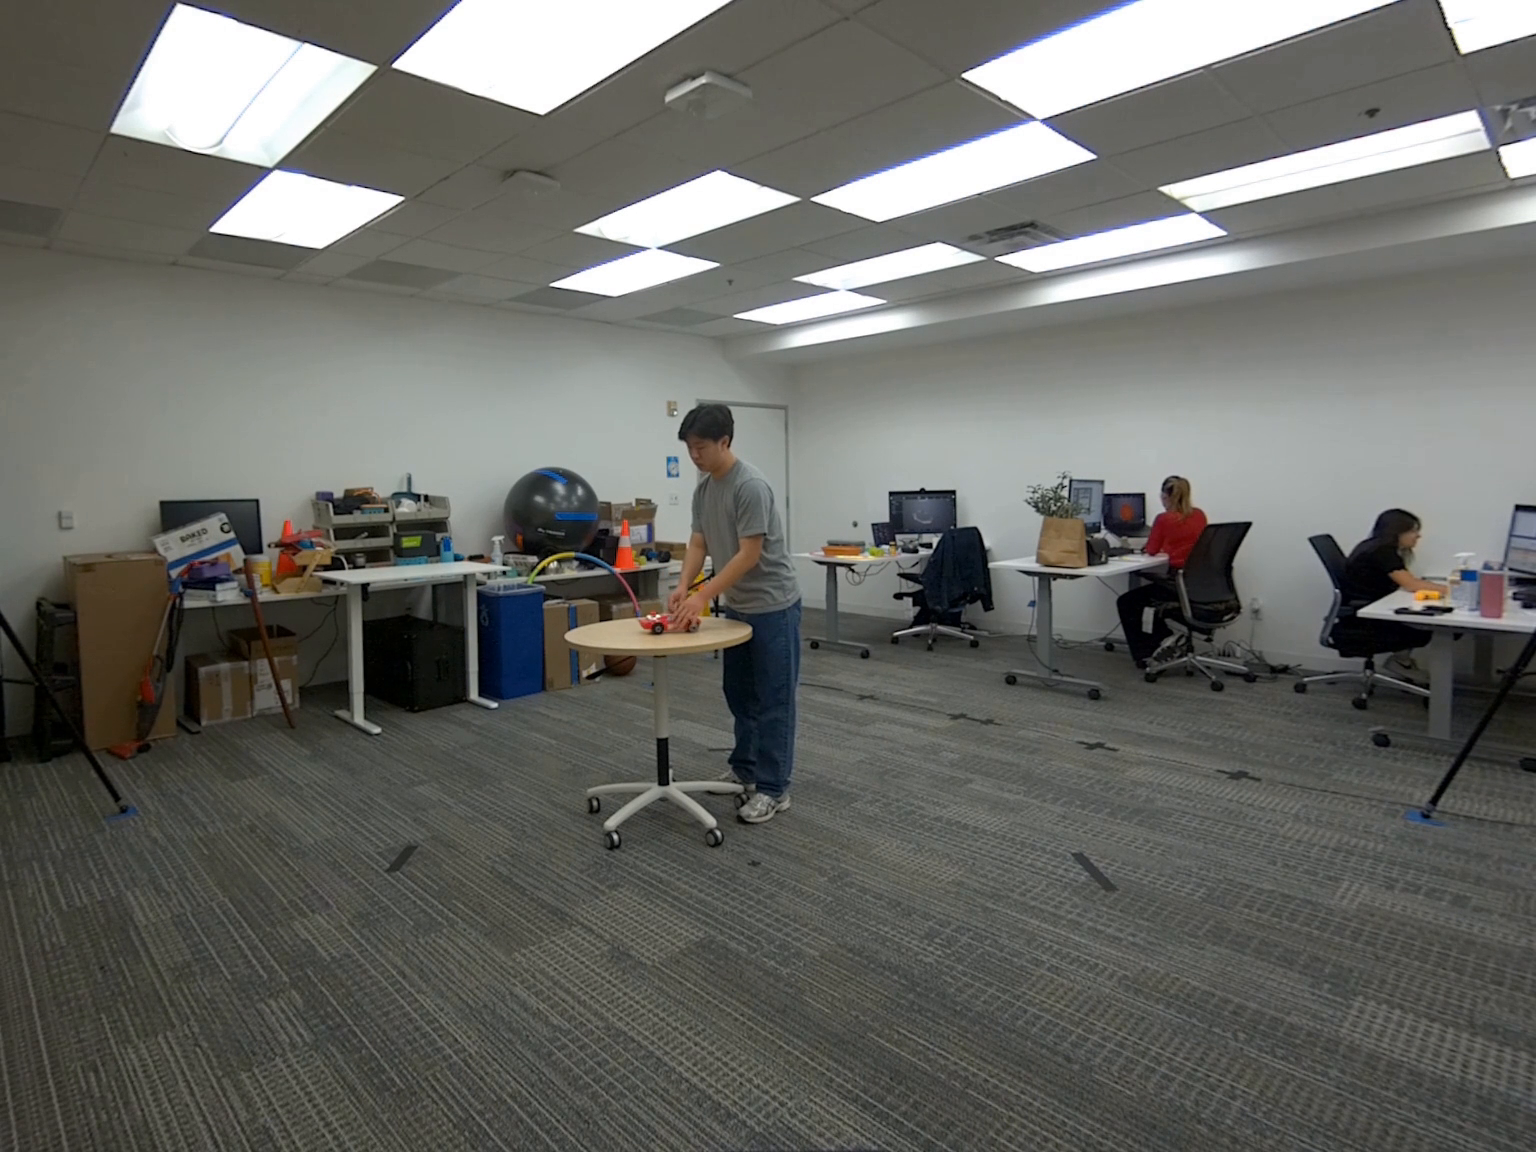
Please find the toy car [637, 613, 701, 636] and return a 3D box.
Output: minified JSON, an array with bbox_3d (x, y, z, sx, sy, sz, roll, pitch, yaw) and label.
[{"bbox_3d":[-0.411,0.196,3.473,0.250,0.083,0.132,9,2,-15],"label":"toy car"}]
